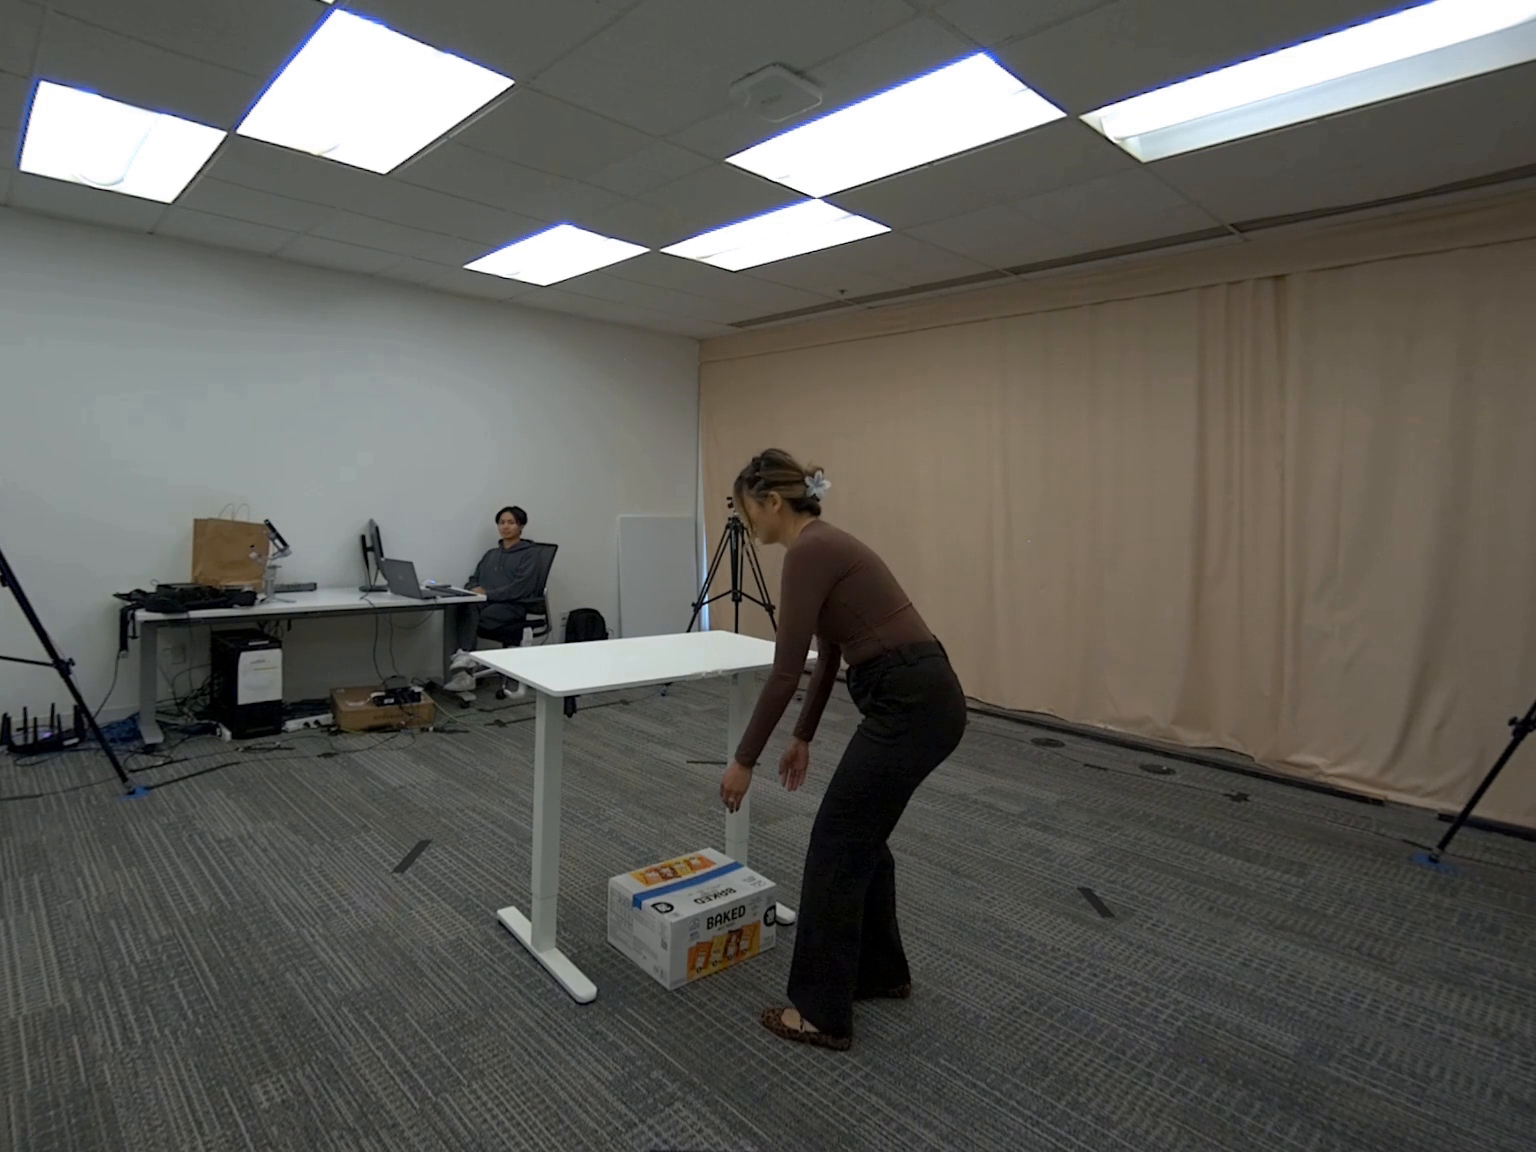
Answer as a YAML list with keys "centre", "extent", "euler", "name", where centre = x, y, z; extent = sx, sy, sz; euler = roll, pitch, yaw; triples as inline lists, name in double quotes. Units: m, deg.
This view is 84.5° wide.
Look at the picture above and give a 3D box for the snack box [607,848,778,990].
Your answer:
- centre: [-0.239, 1.050, 2.605]
  extent: [0.396, 0.205, 0.349]
  euler: [-3, 6, -41]
  name: "snack box"
